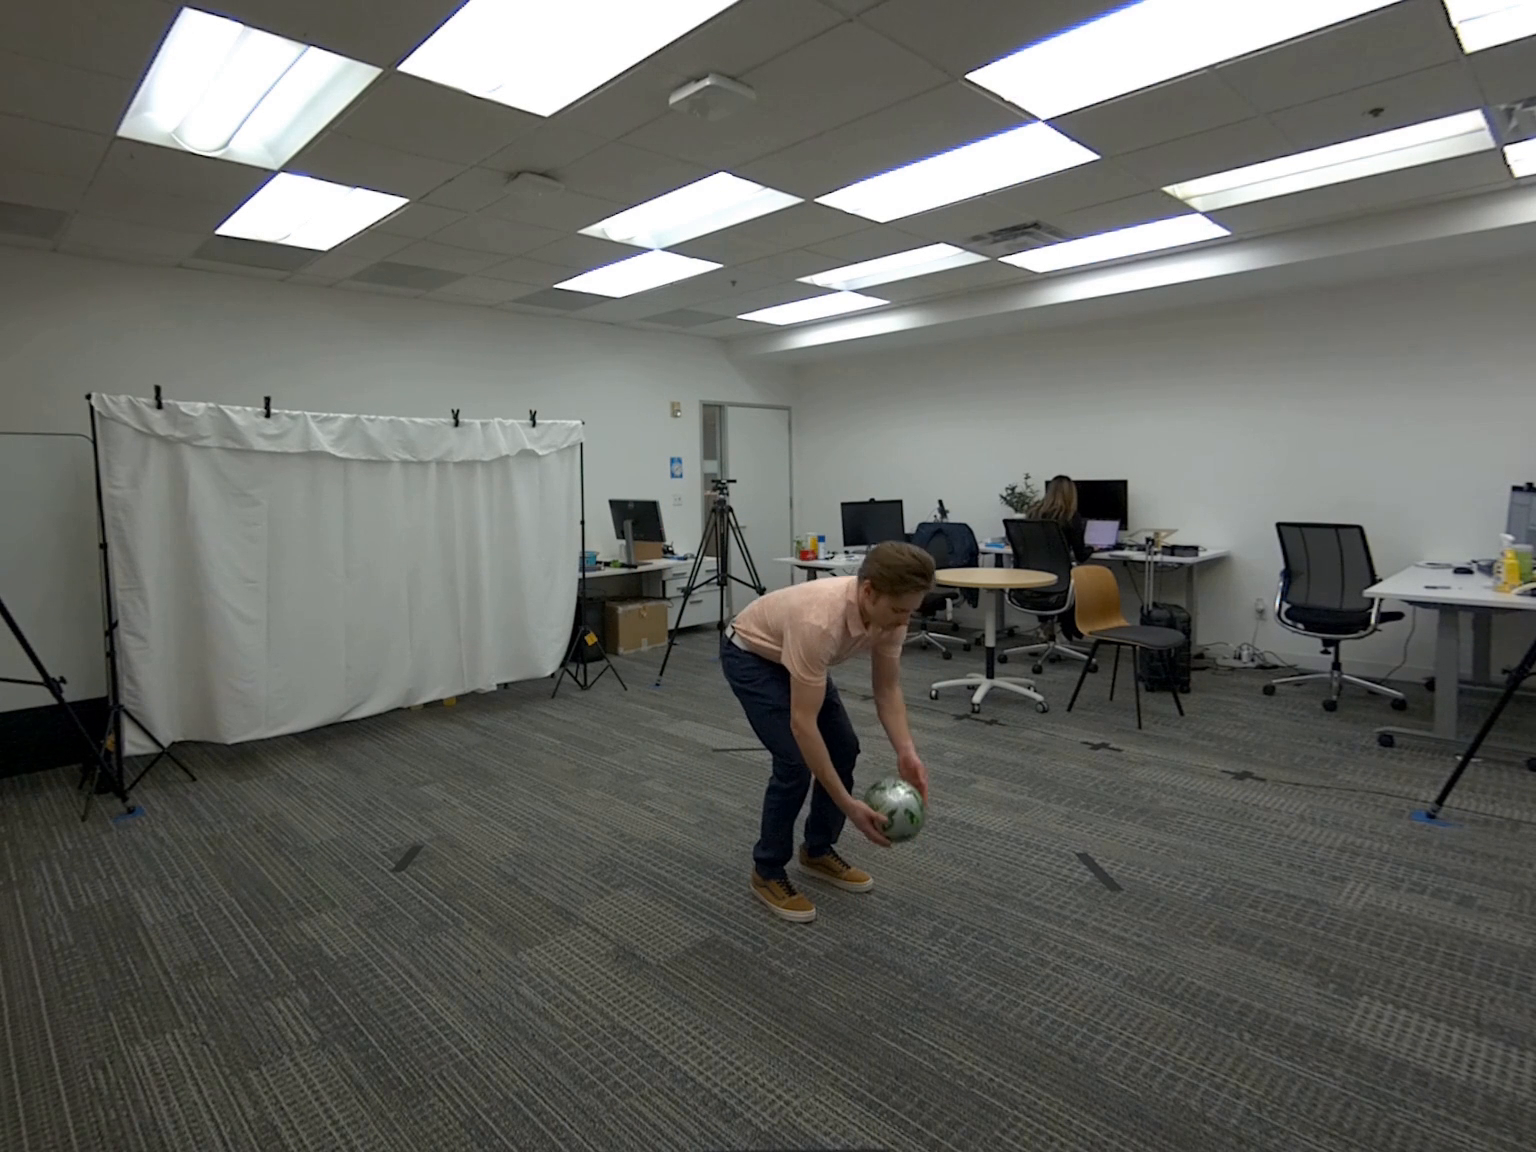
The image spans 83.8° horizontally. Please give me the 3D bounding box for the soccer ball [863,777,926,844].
[{"bbox_3d":[0.373,0.711,2.556,0.187,0.187,0.188,-1,5,-2],"label":"soccer ball"}]
